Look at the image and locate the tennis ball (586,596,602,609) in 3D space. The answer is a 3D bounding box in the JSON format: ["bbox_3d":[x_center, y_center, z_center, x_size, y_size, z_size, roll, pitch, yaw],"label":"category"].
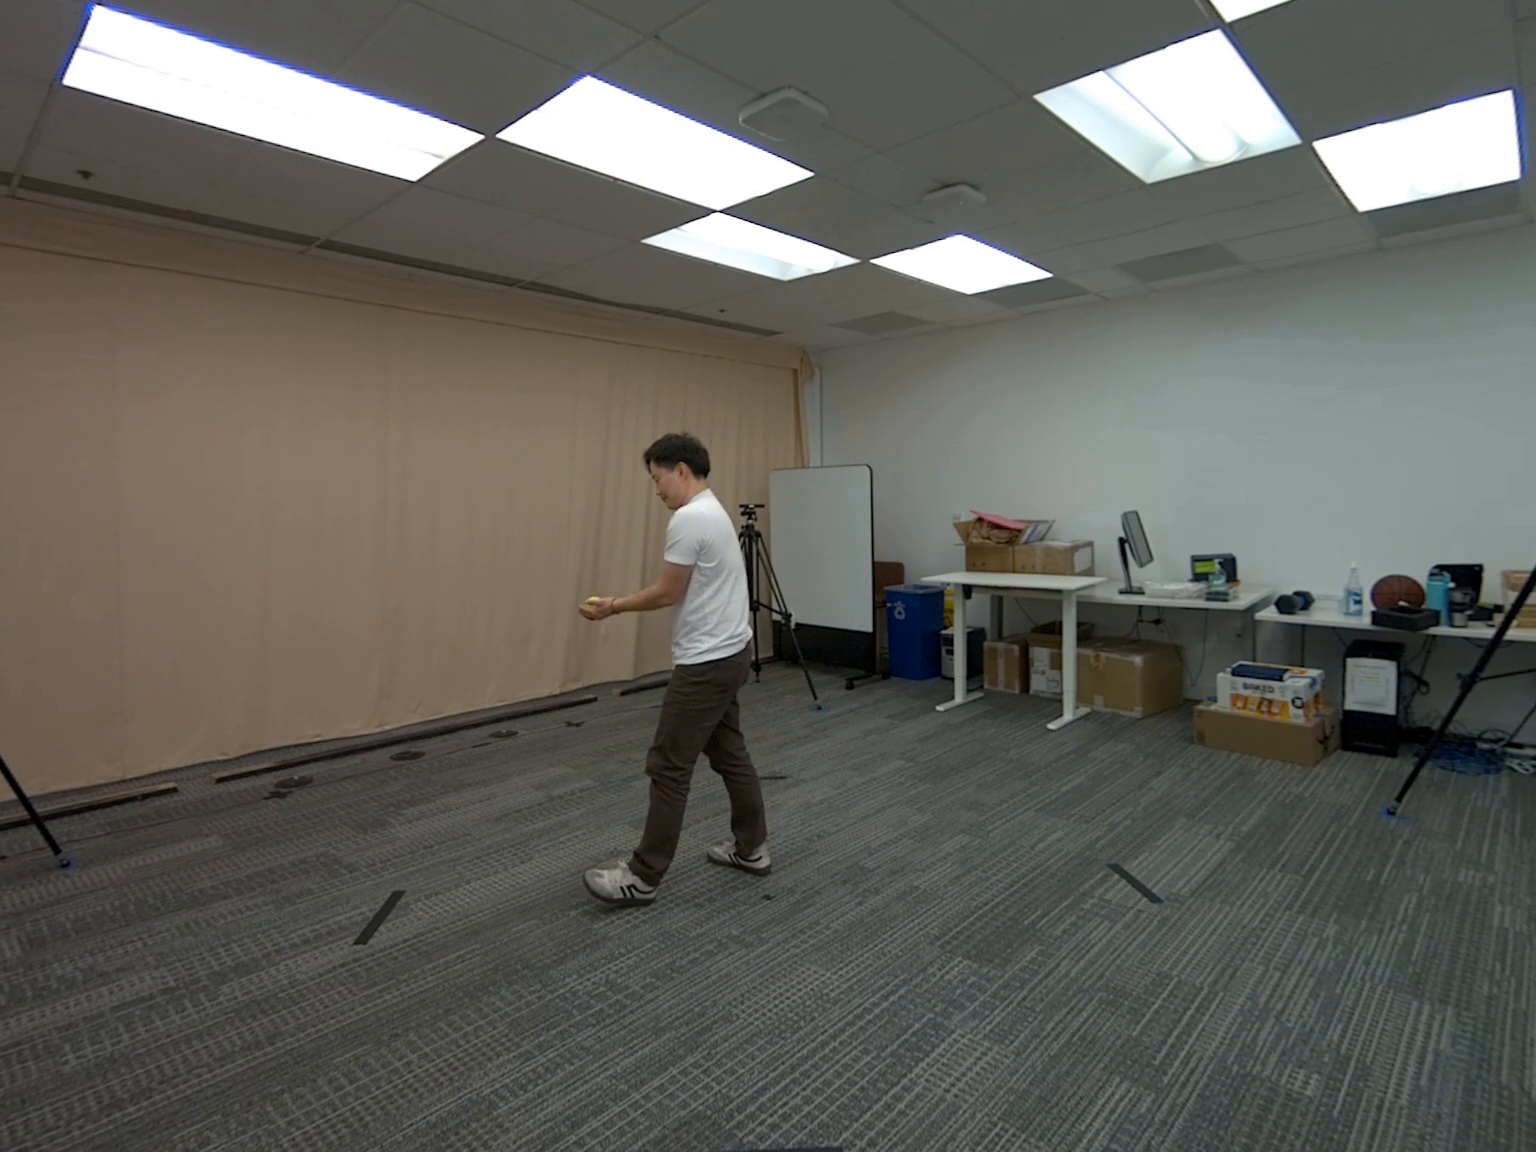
[{"bbox_3d":[-0.602,0.093,3.121,0.066,0.066,0.067,-1,4,-2],"label":"tennis ball"}]
